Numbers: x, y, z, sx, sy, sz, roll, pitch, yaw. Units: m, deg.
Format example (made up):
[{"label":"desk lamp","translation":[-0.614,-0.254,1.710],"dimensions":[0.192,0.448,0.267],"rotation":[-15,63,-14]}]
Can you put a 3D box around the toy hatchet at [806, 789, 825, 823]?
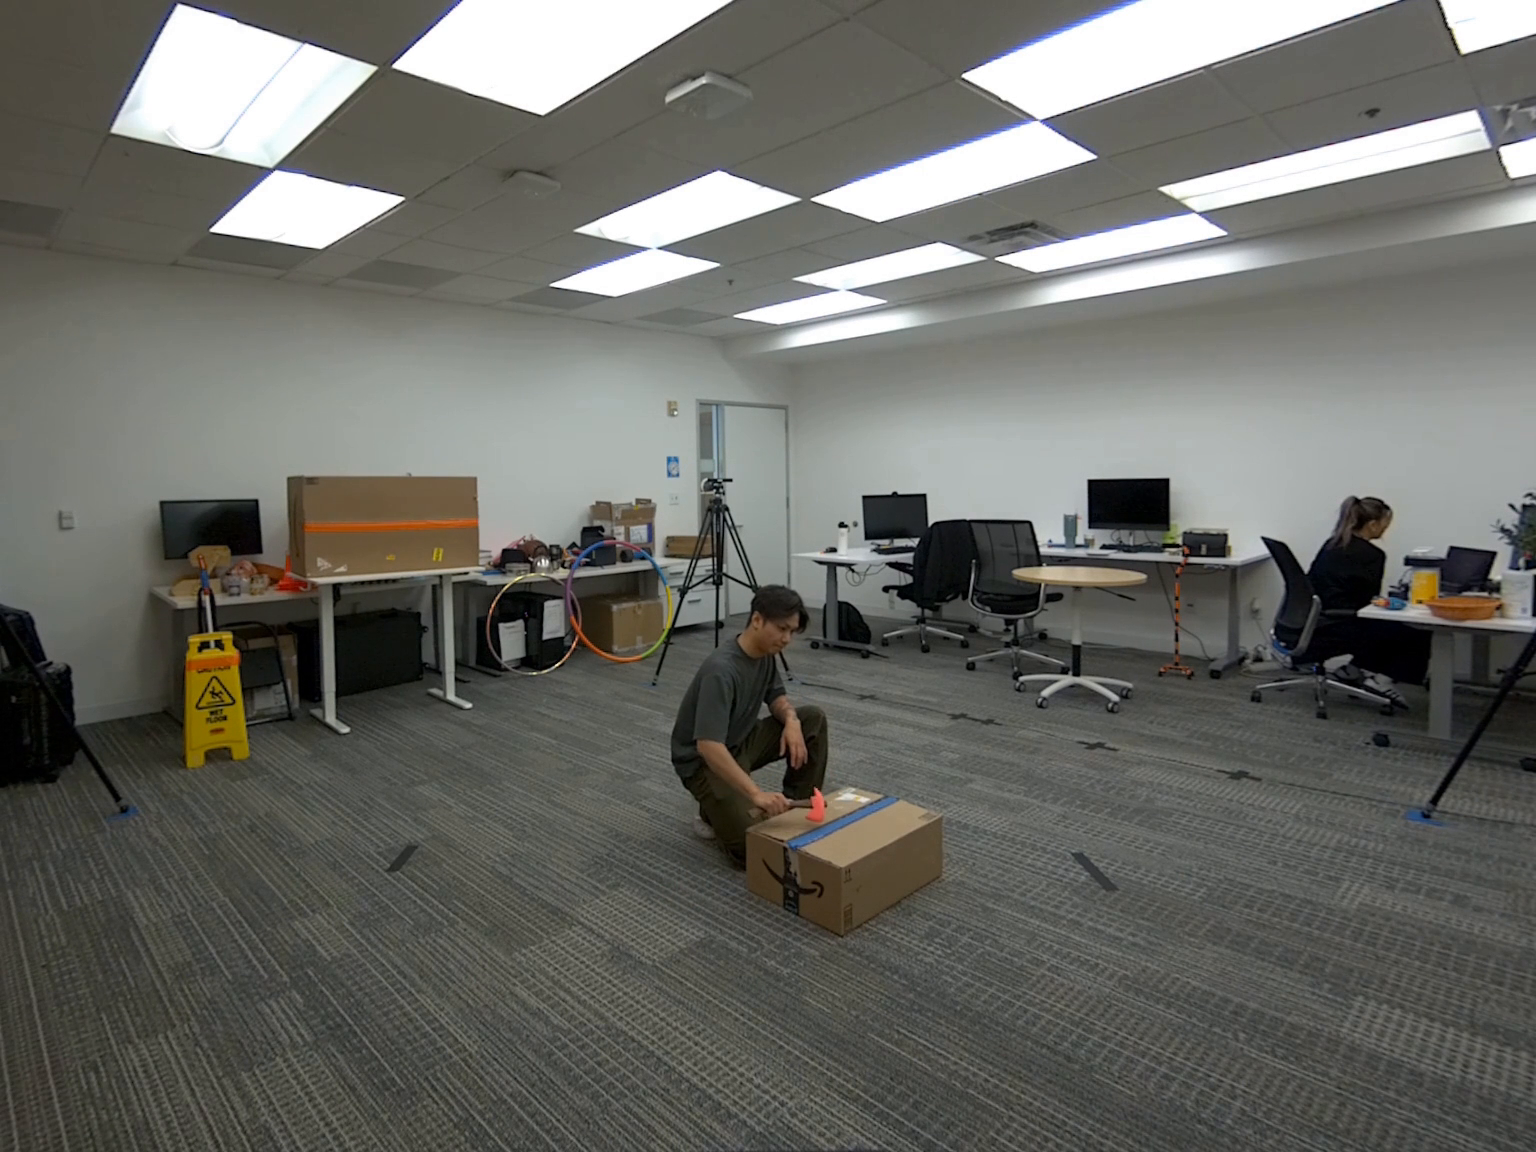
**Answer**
[{"label":"toy hatchet","translation":[0.076,0.803,2.894],"dimensions":[0.267,0.029,0.136],"rotation":[-14,42,-15]}]
